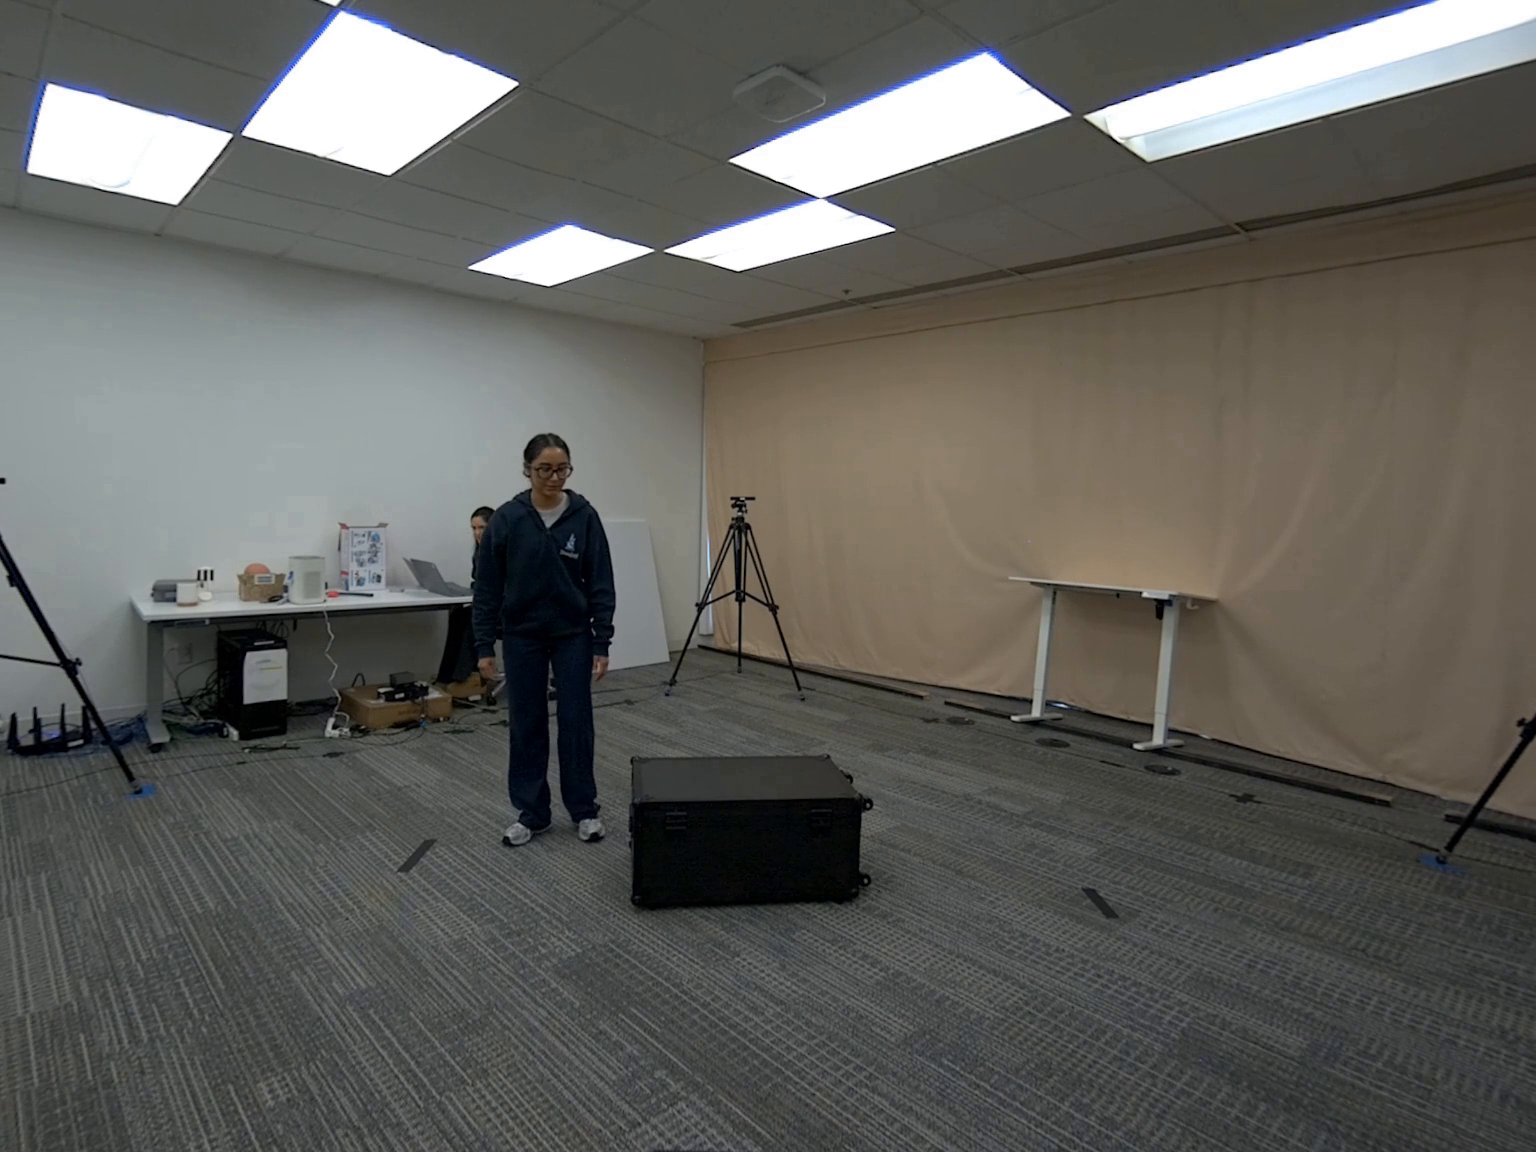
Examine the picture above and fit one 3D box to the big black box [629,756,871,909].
[{"bbox_3d":[-0.075,0.920,3.084,0.855,0.395,0.526,0,4,-9],"label":"big black box"}]
